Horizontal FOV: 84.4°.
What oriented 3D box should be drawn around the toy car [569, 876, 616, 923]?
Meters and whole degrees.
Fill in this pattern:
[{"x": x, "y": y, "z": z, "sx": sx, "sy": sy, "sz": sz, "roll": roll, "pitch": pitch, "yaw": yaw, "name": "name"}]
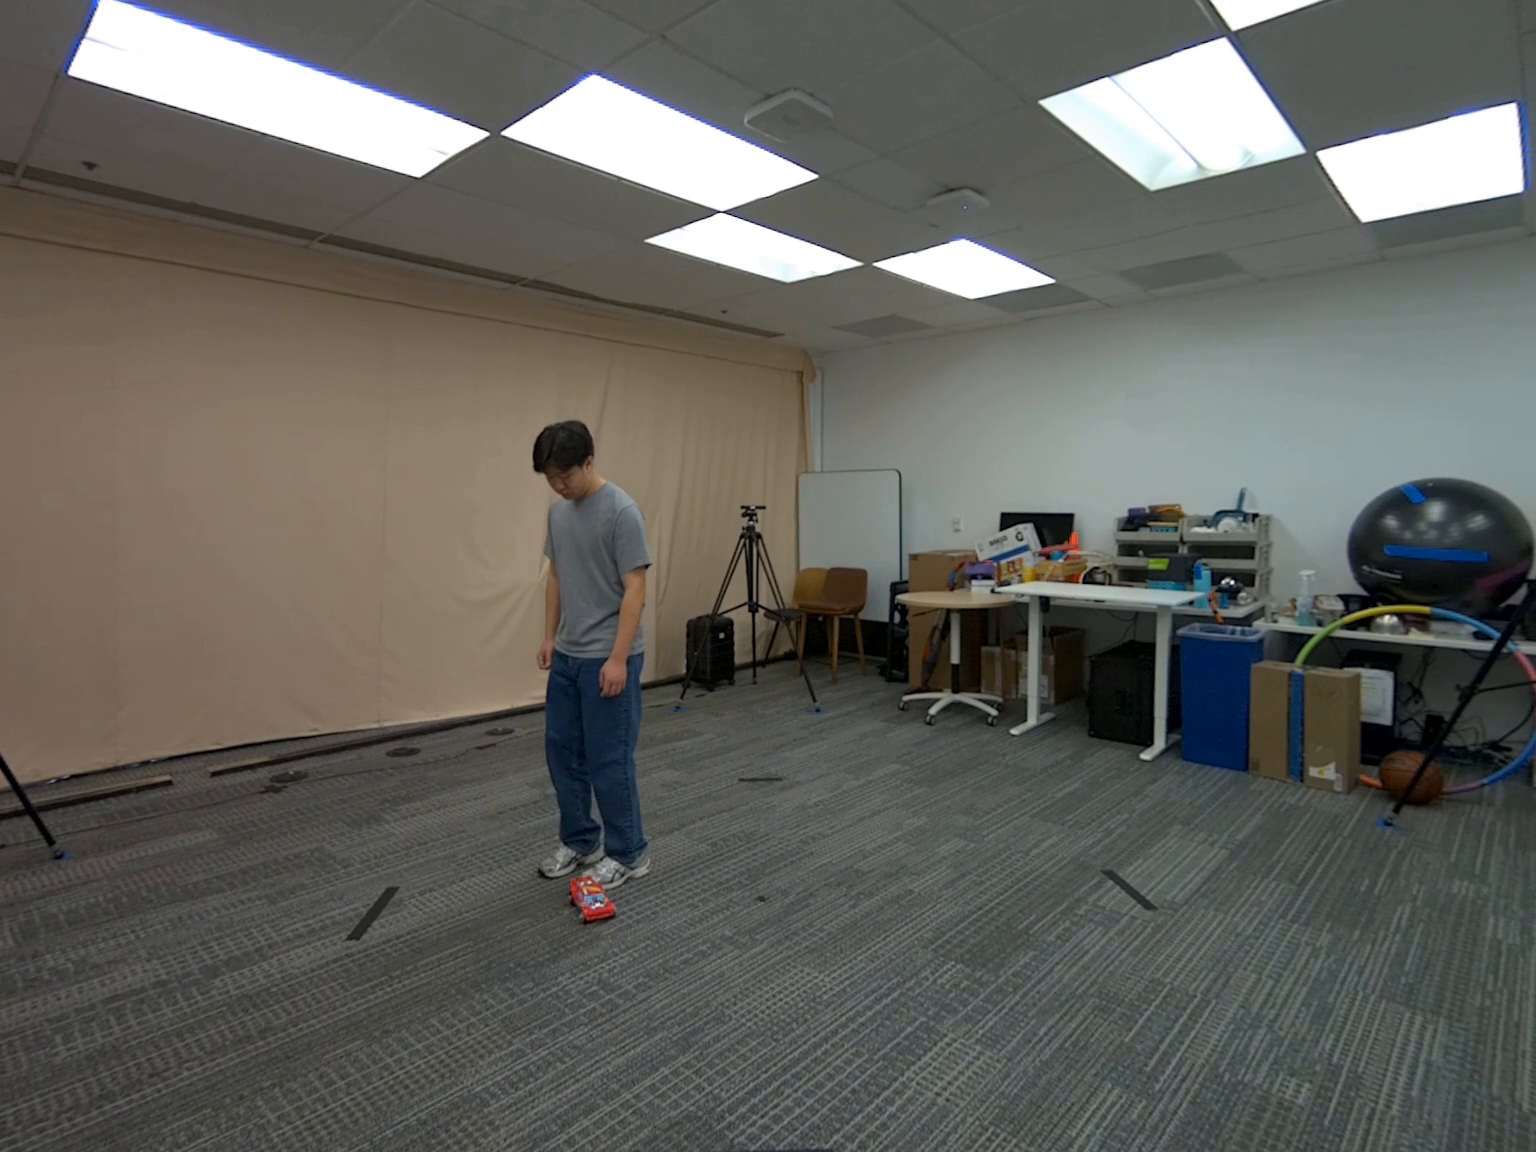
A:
[{"x": -0.618, "y": 1.117, "z": 2.920, "sx": 0.127, "sy": 0.082, "sz": 0.263, "roll": -3, "pitch": 16, "yaw": -26, "name": "toy car"}]
